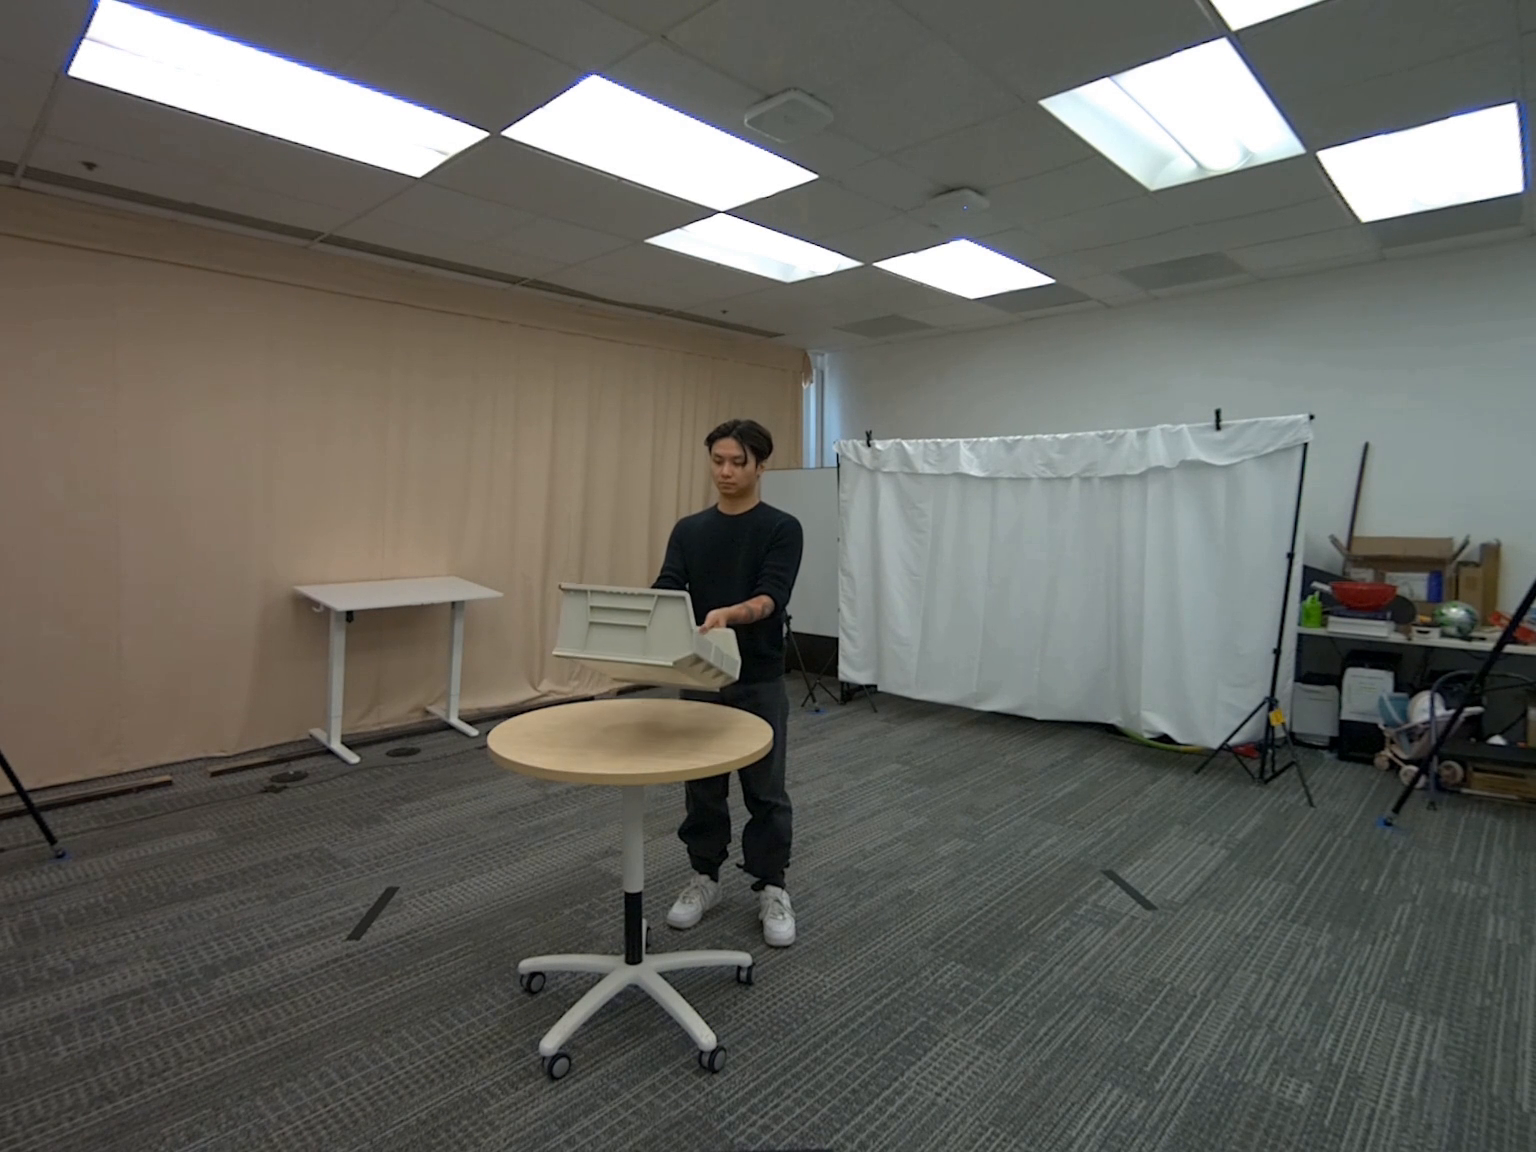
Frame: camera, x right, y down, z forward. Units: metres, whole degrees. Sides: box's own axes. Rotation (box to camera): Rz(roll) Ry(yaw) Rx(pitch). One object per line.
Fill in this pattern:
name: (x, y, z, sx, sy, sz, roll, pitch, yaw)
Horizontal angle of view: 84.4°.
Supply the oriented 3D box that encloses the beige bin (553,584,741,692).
beige bin: (-0.311, 0.176, 2.199, 0.384, 0.190, 0.411, 3, -15, 16)
